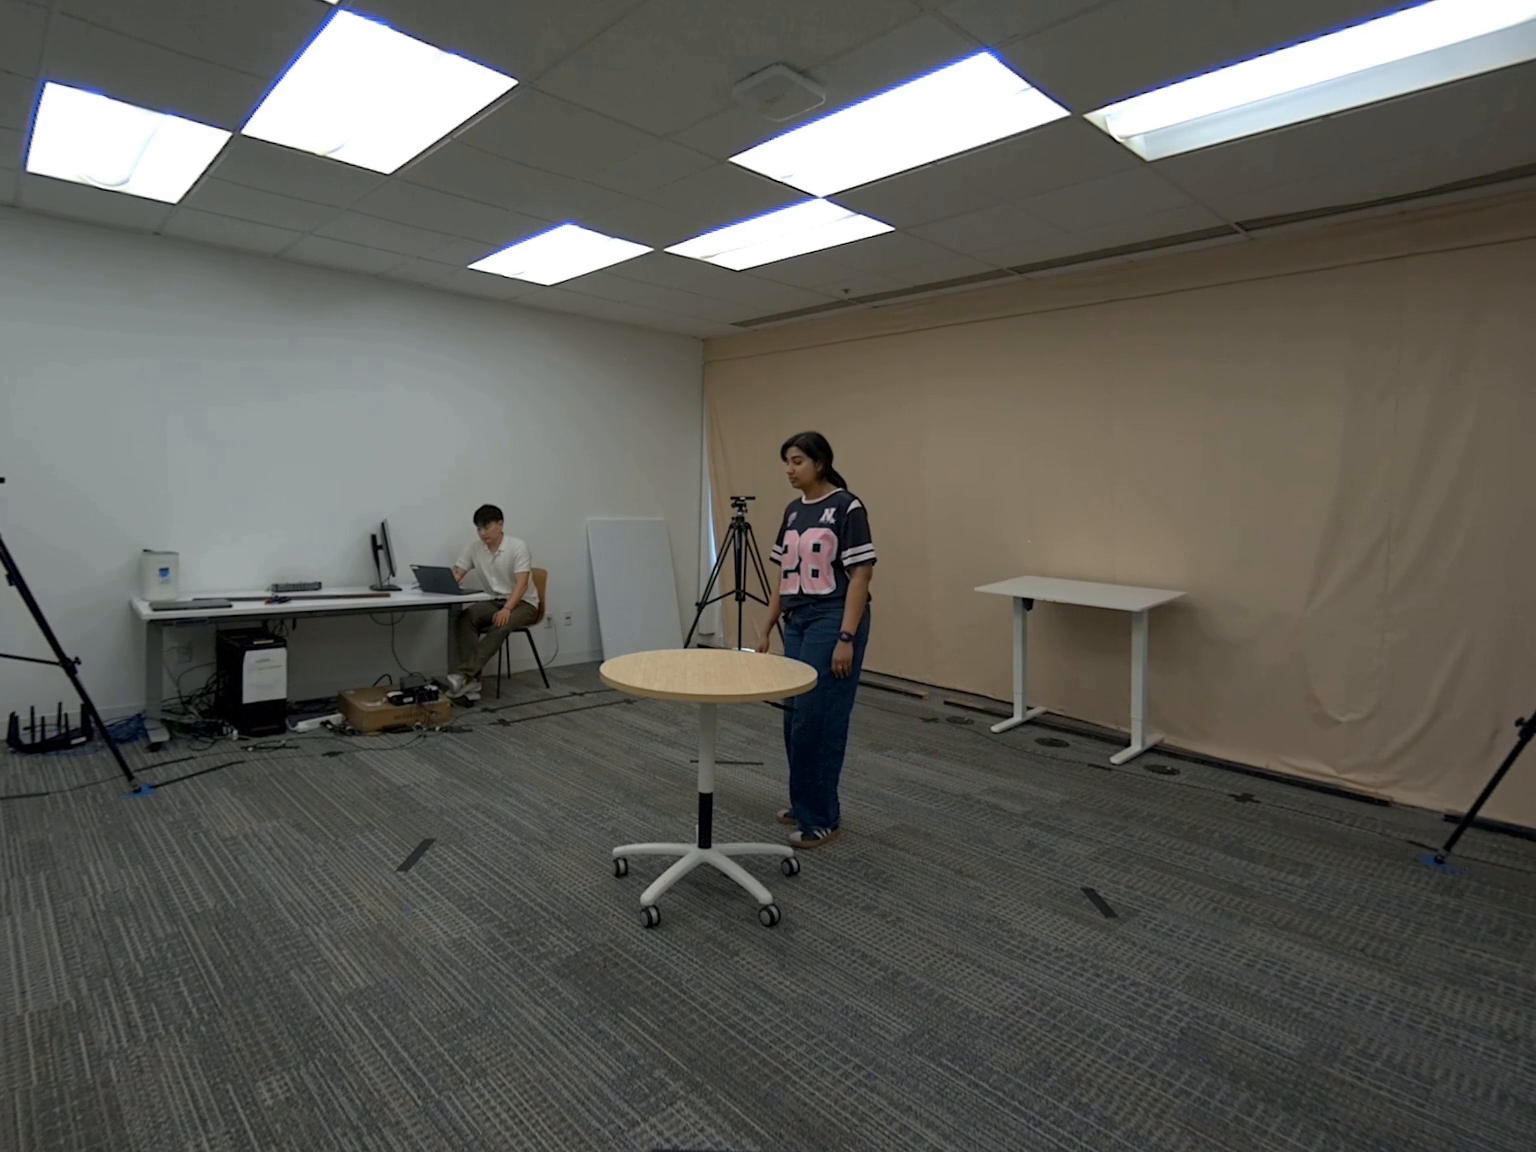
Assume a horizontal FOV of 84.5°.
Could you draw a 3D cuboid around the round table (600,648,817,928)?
[{"bbox_3d":[-0.226,0.725,2.998,0.763,0.792,0.767,1,4,-1],"label":"round table"}]
